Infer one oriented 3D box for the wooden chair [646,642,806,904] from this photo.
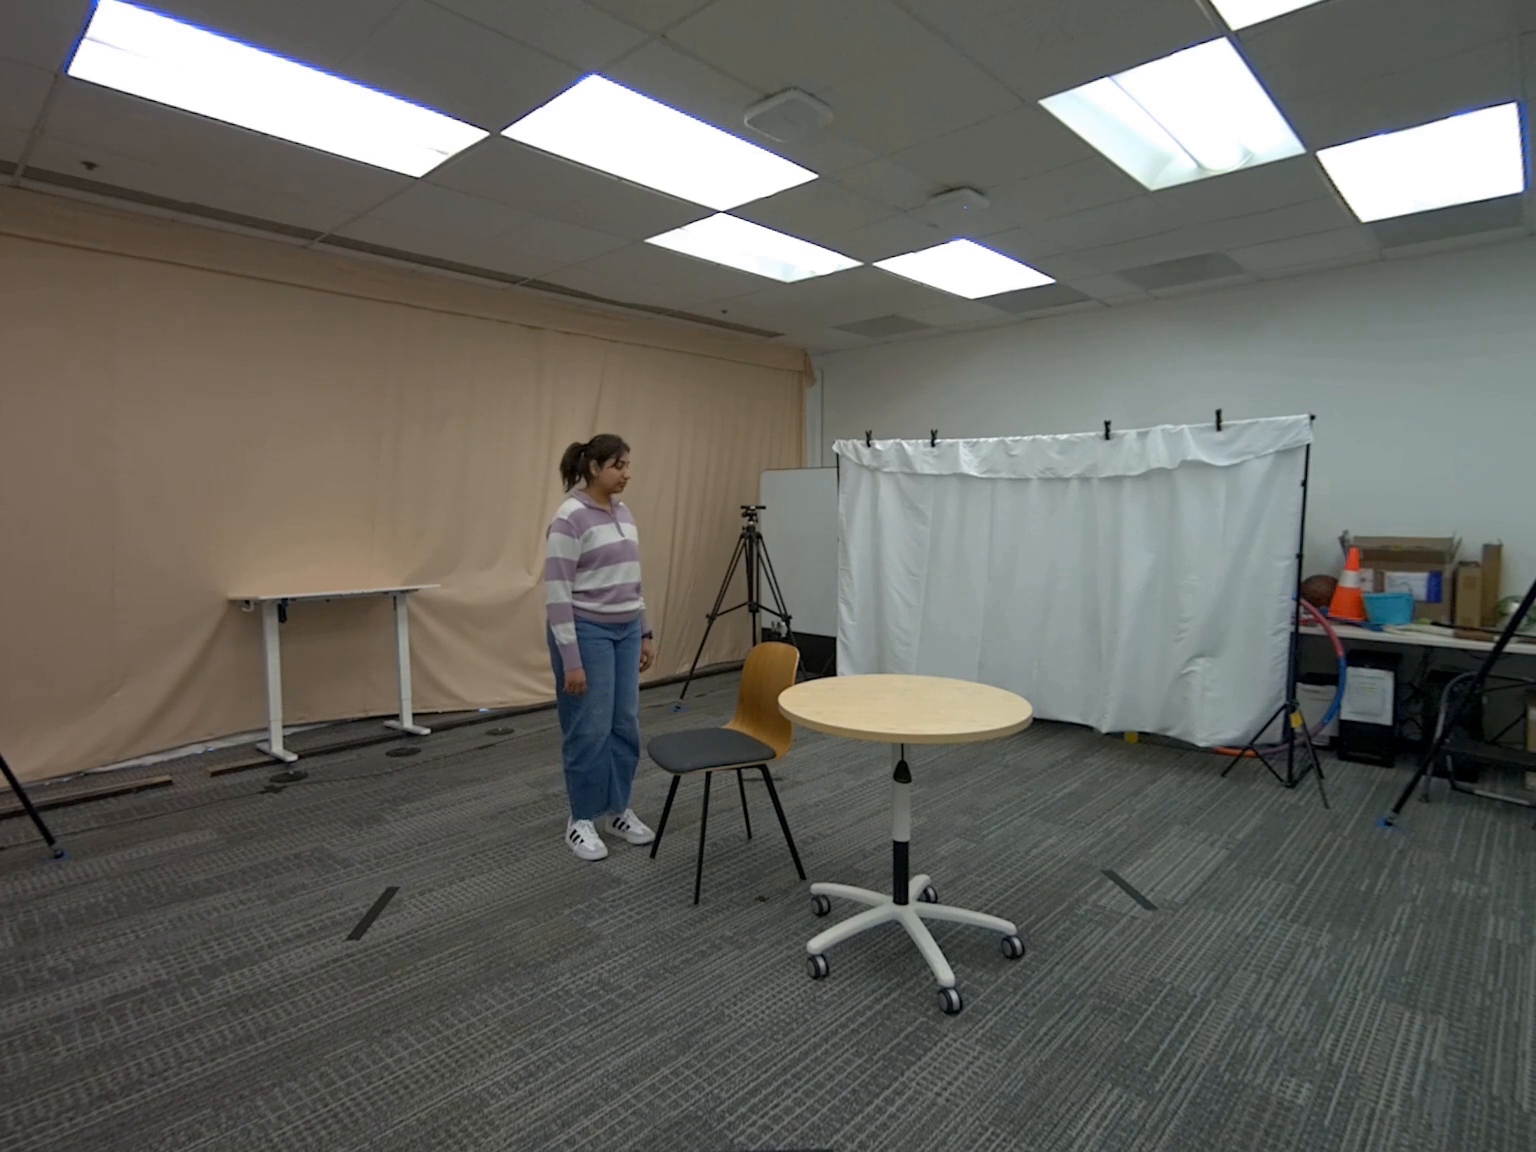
[{"bbox_3d":[-0.171,0.699,3.198,0.509,0.876,0.491,3,2,-27],"label":"wooden chair"}]
